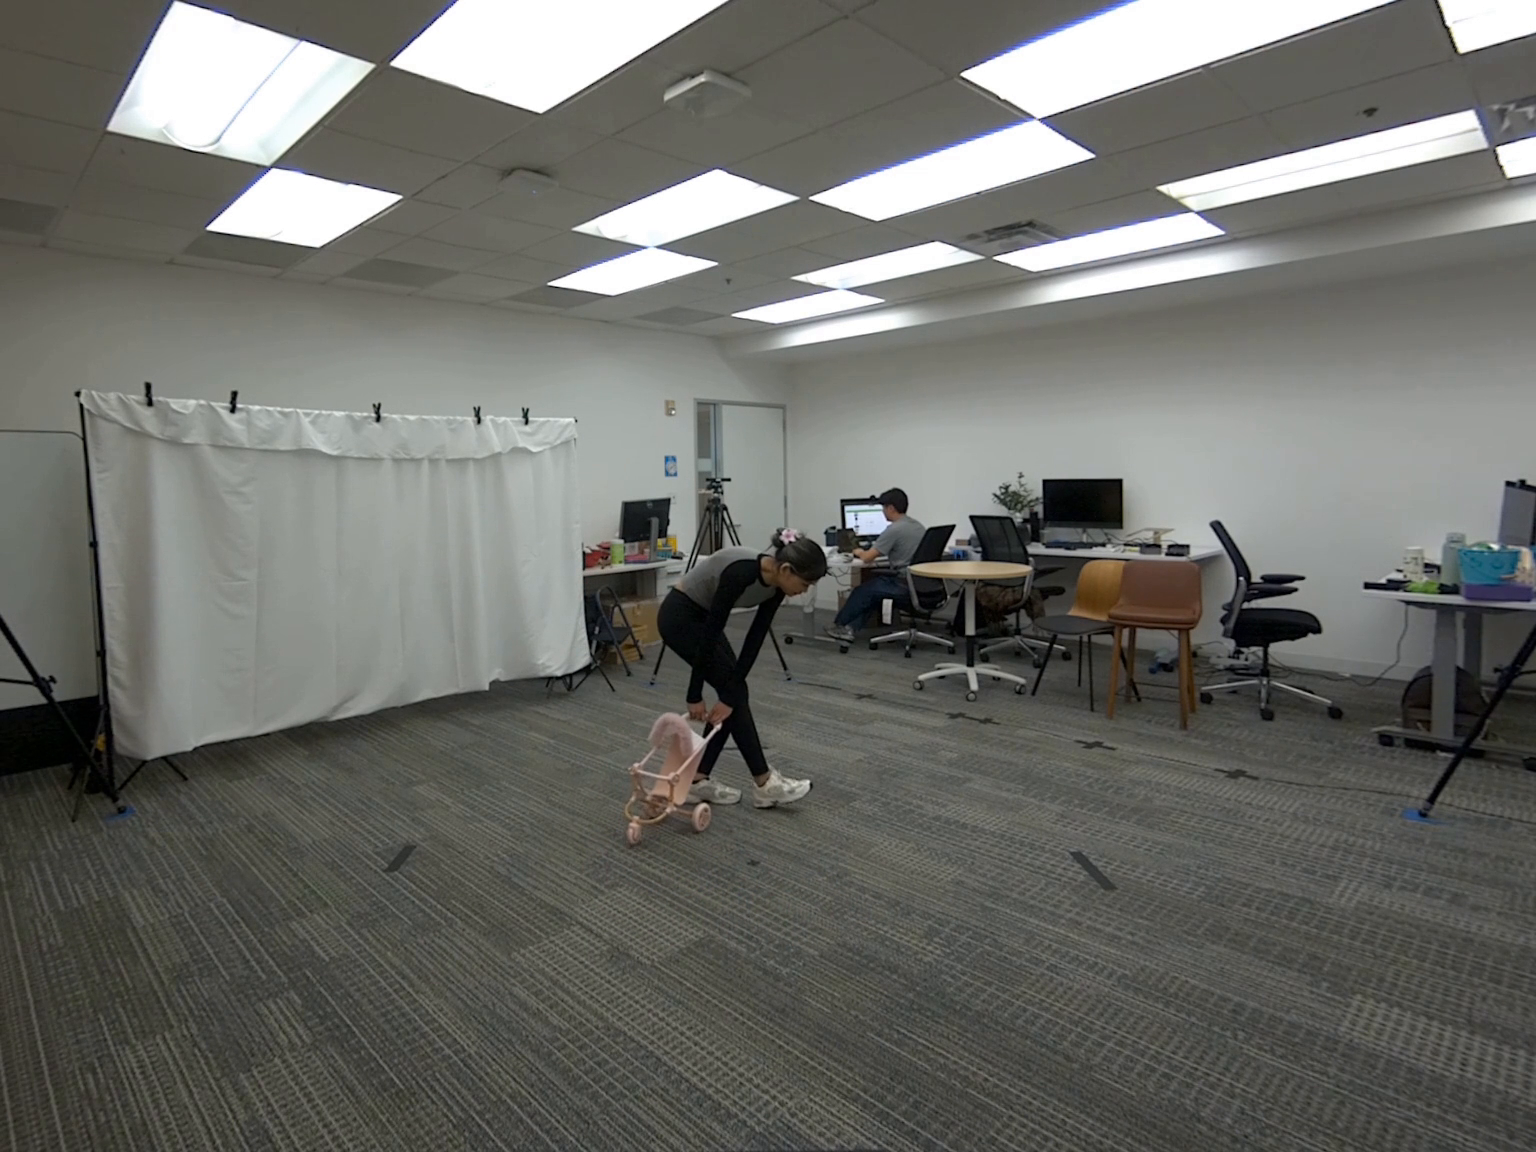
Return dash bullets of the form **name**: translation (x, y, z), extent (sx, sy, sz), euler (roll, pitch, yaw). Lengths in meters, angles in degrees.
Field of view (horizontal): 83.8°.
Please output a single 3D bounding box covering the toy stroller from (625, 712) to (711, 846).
- **toy stroller**: translation (-0.402, 0.787, 3.413), extent (0.290, 0.539, 0.329), euler (2, -13, 40)
